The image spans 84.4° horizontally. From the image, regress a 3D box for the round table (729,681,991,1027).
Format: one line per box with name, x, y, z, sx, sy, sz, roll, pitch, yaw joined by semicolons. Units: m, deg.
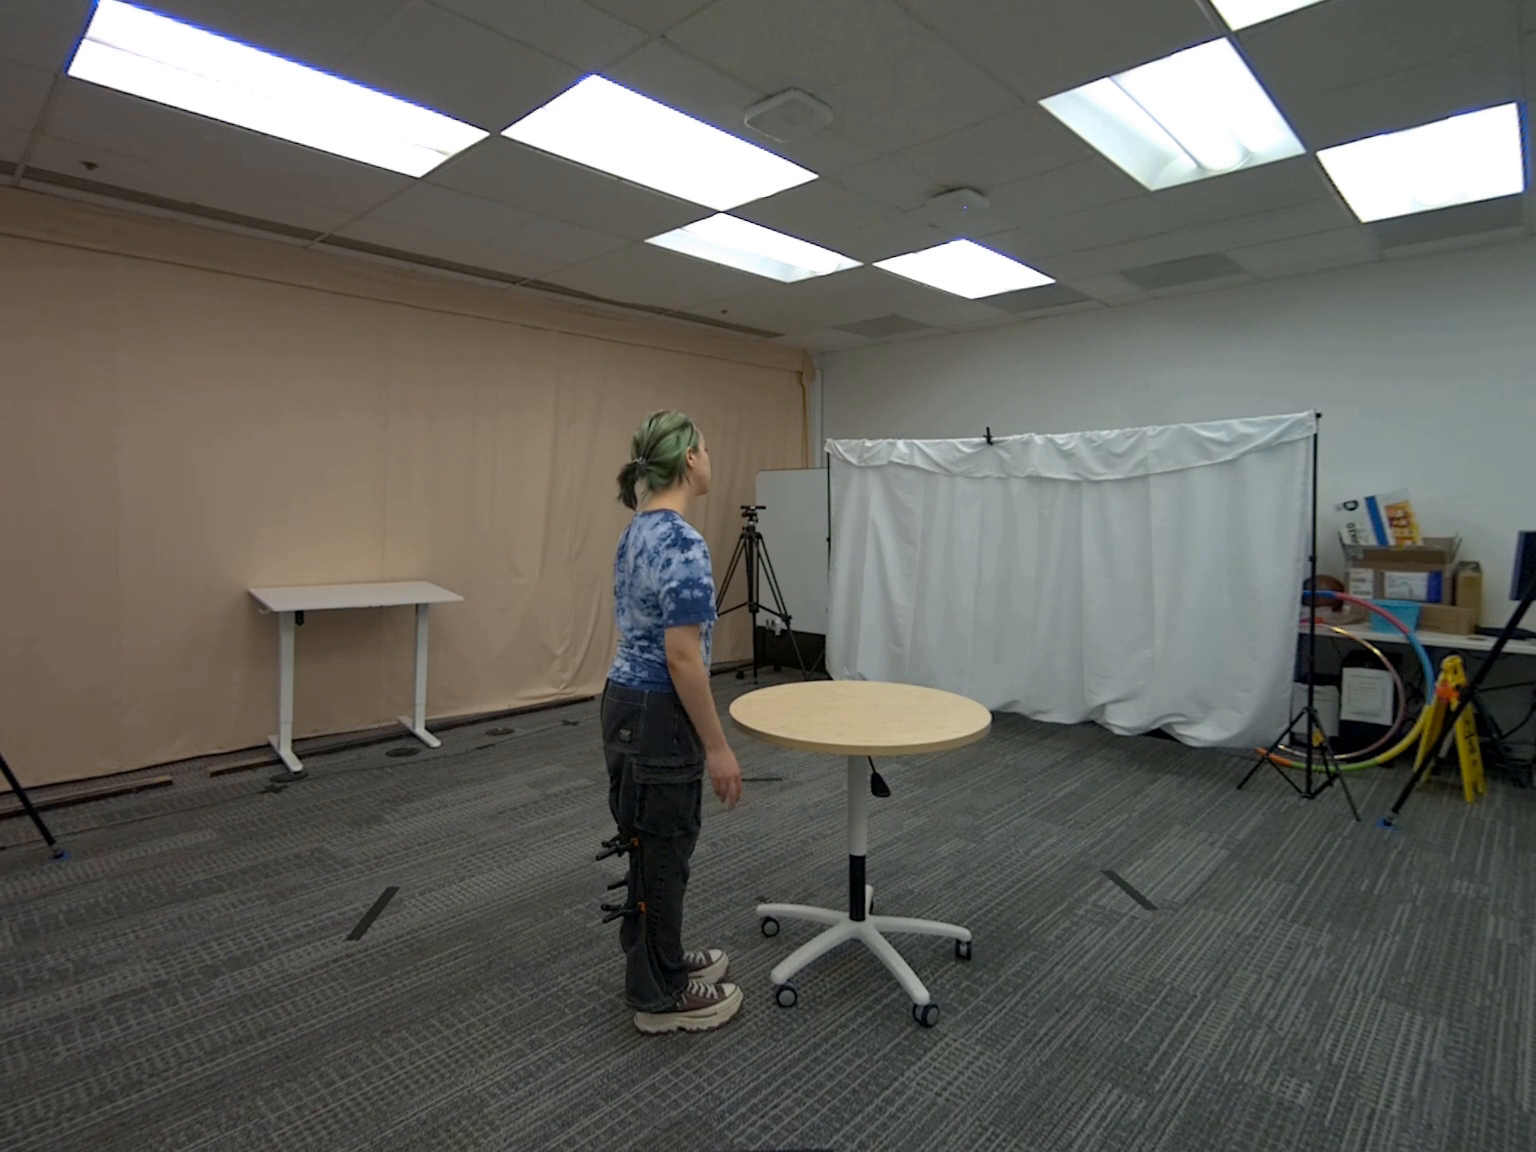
round table;0.277;0.789;2.549;0.763;0.792;0.767;0;4;-2
